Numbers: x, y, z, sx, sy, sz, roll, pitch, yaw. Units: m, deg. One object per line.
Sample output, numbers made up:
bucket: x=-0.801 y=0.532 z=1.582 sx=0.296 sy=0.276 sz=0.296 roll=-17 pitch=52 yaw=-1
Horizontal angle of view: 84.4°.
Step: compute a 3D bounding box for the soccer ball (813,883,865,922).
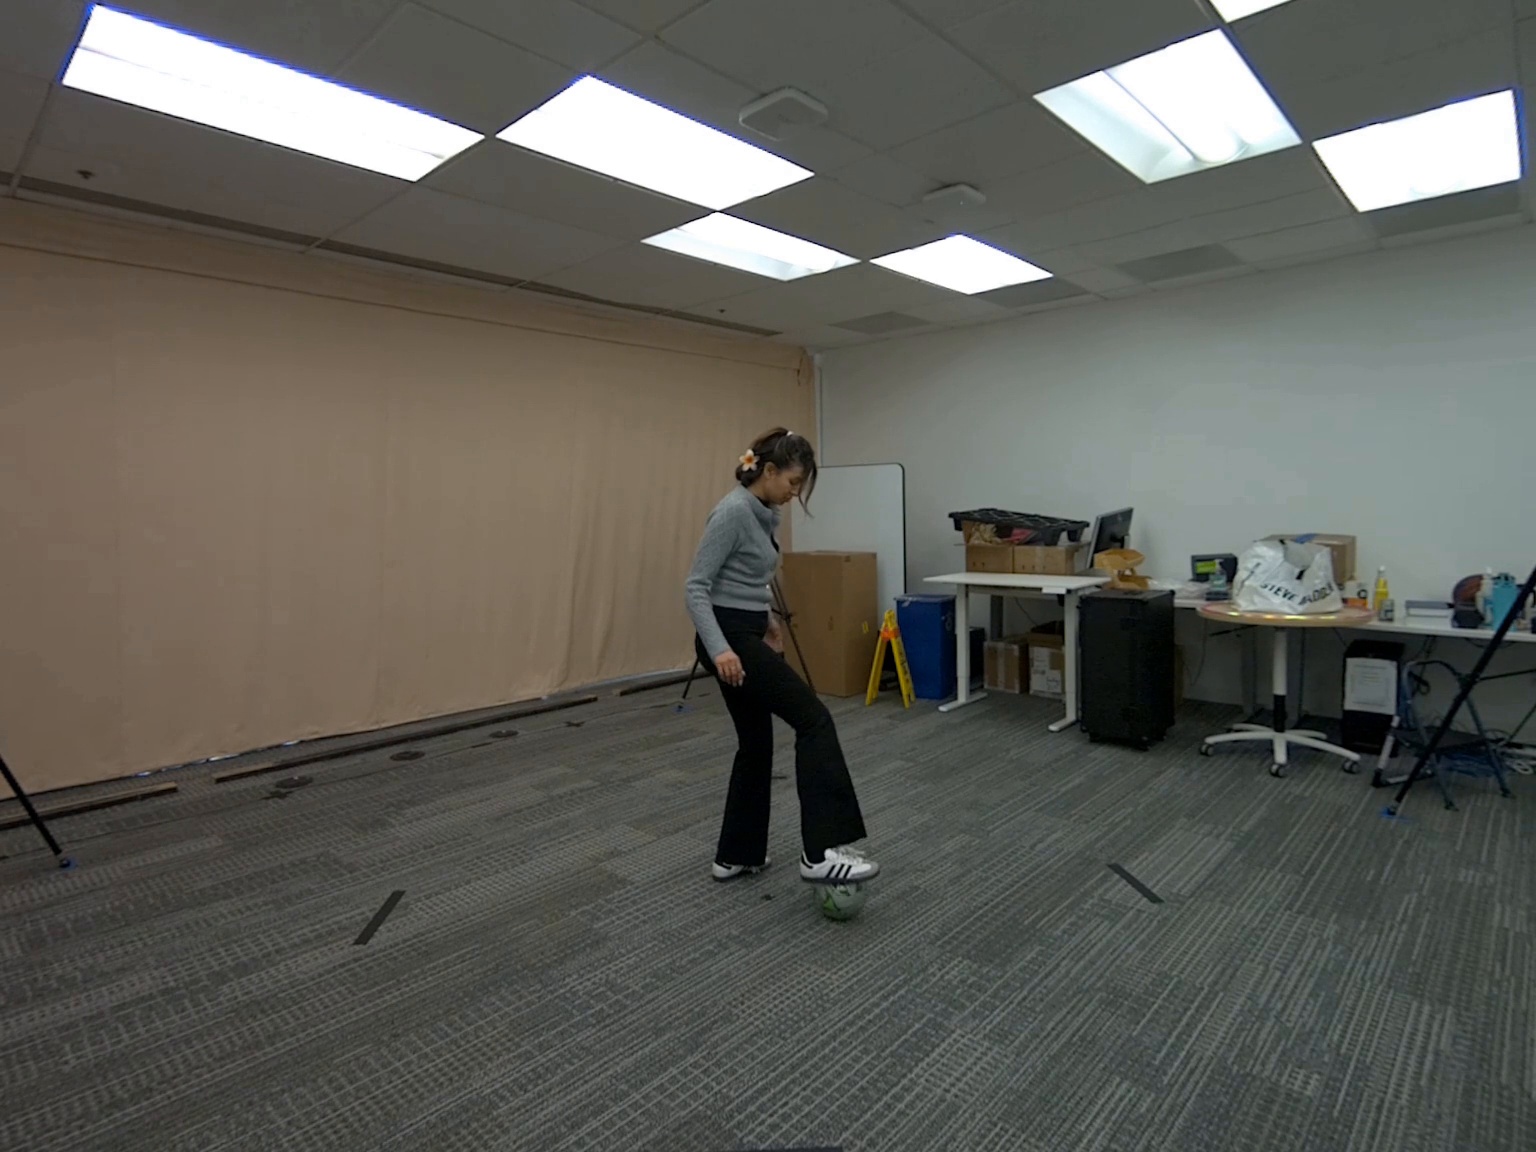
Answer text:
soccer ball: x=0.246 y=1.052 z=2.864 sx=0.187 sy=0.187 sz=0.188 roll=-1 pitch=4 yaw=-2
